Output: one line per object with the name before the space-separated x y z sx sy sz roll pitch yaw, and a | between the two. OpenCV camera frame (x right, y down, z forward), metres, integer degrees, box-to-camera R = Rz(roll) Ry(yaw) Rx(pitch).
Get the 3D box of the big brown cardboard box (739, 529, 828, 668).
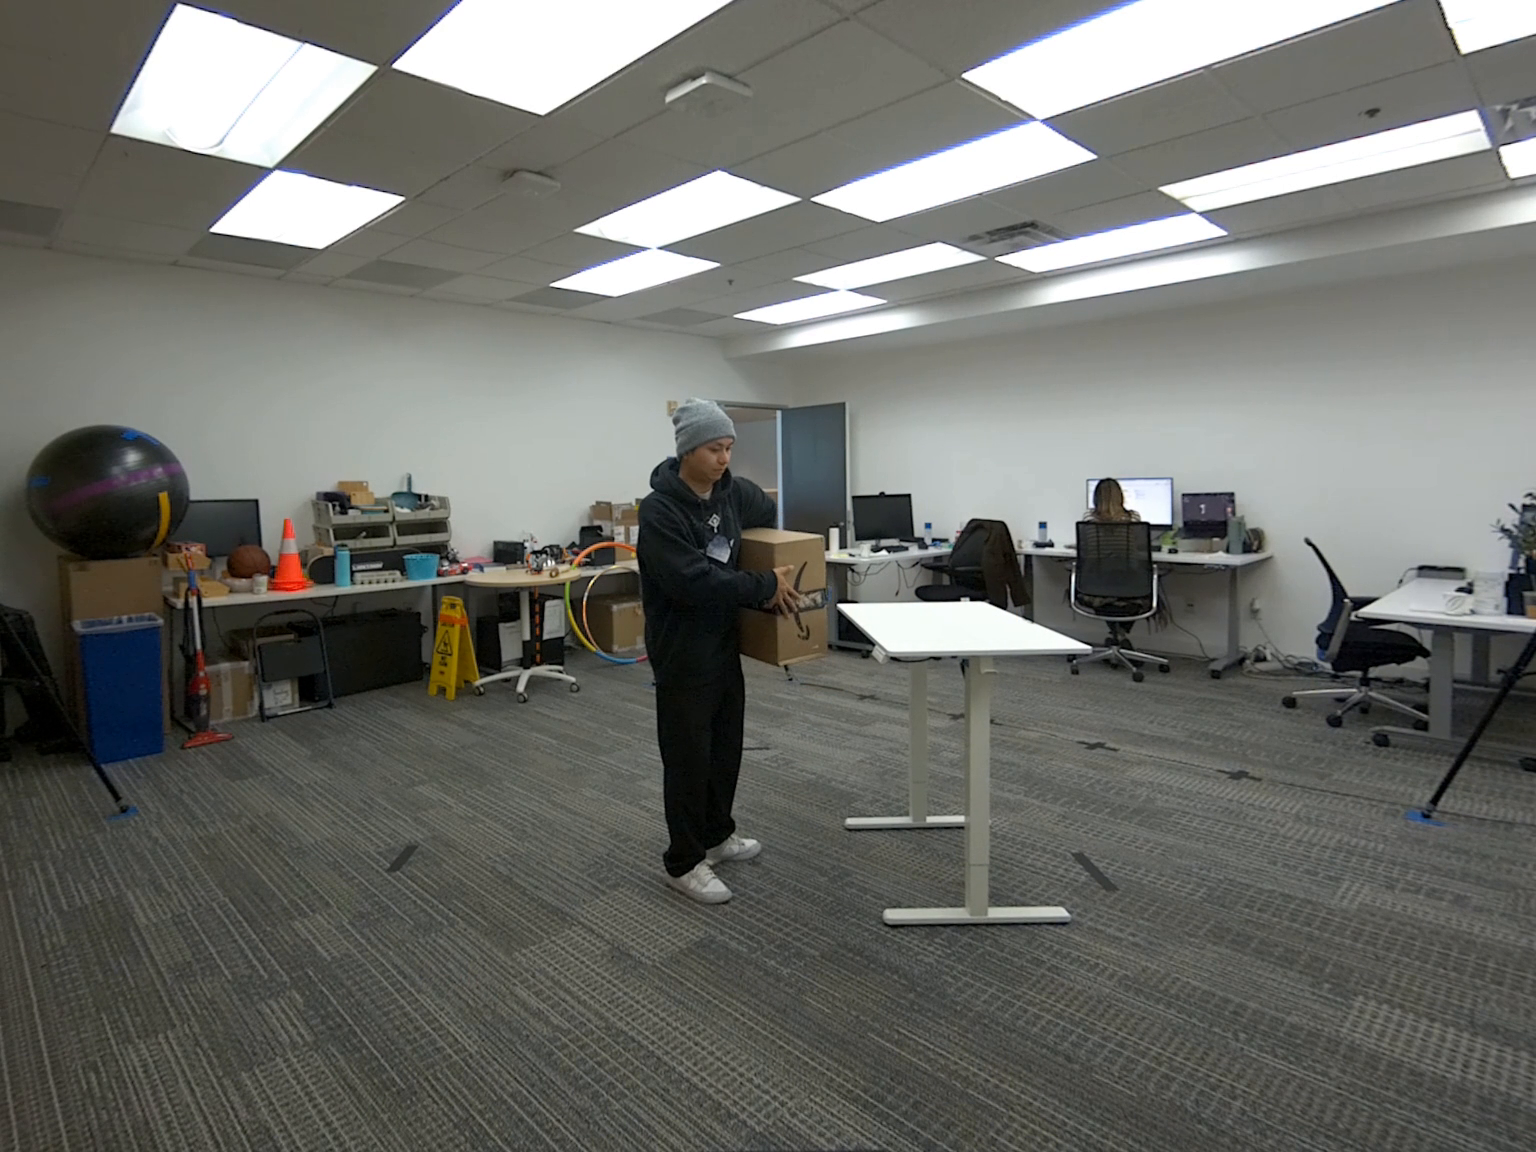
big brown cardboard box | -0.049 0.051 3.064 0.227 0.414 0.608 -7 10 -36
